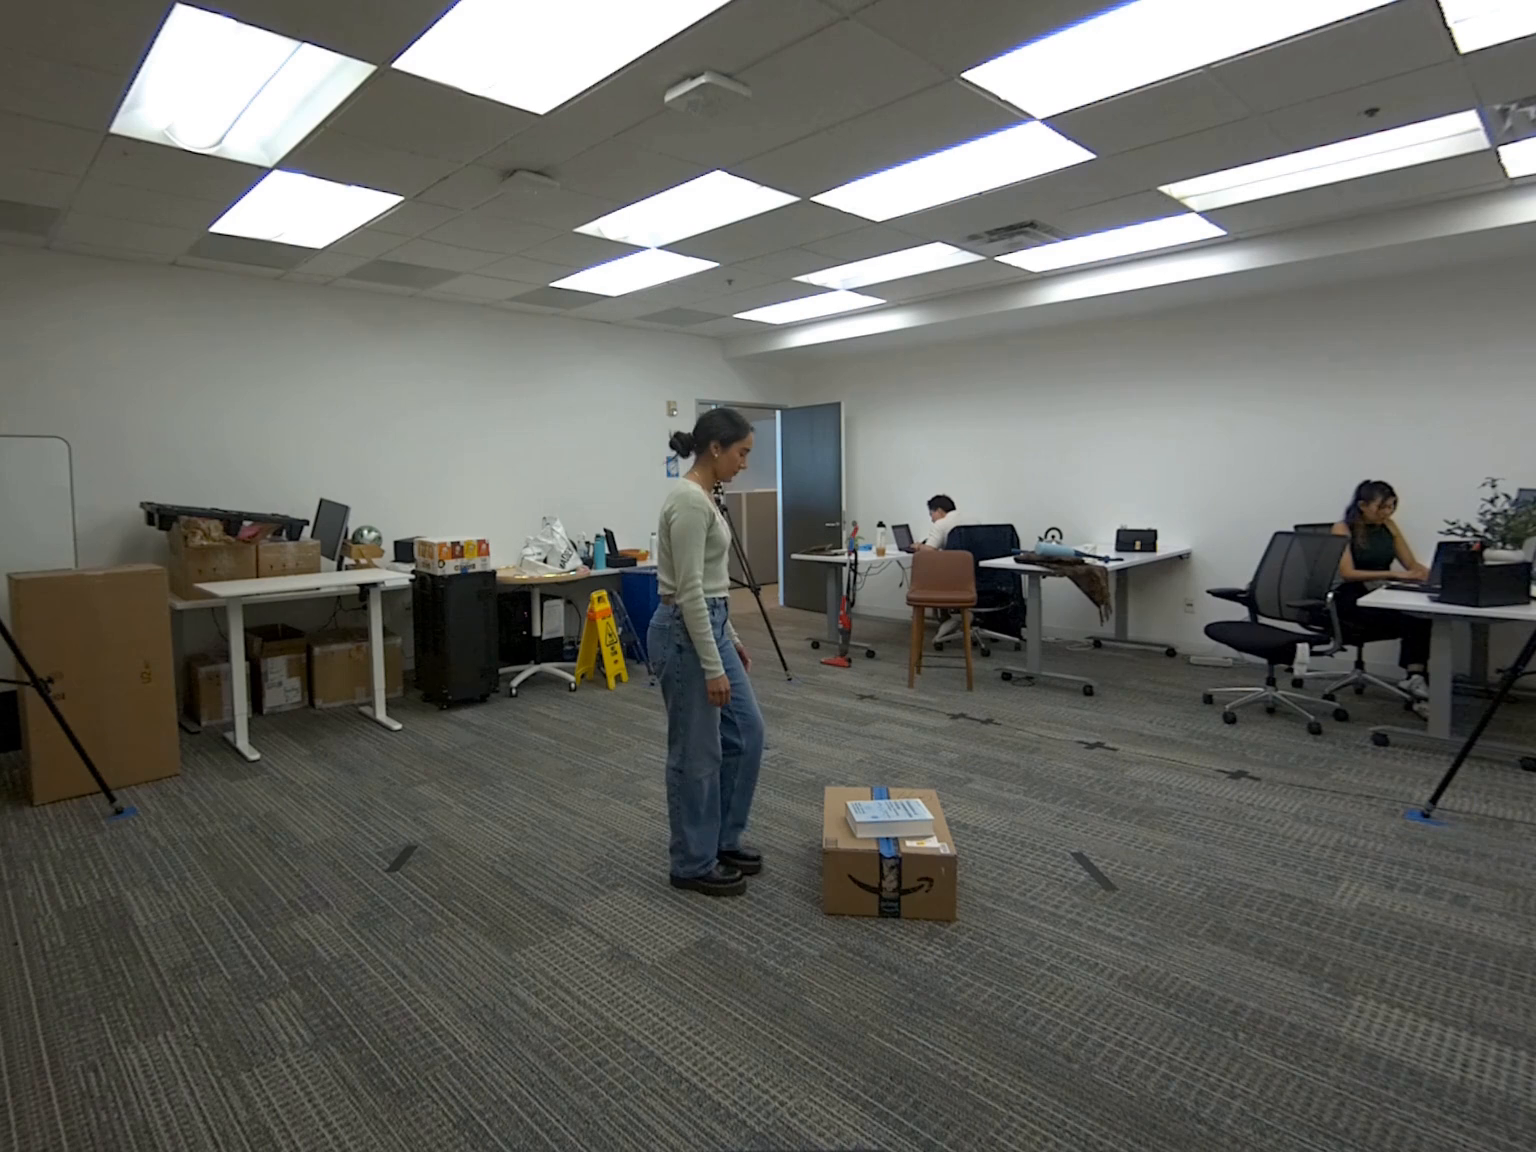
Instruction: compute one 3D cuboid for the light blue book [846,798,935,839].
[{"bbox_3d":[0.407,0.813,2.899,0.260,0.059,0.193,-2,6,-3],"label":"light blue book"}]
